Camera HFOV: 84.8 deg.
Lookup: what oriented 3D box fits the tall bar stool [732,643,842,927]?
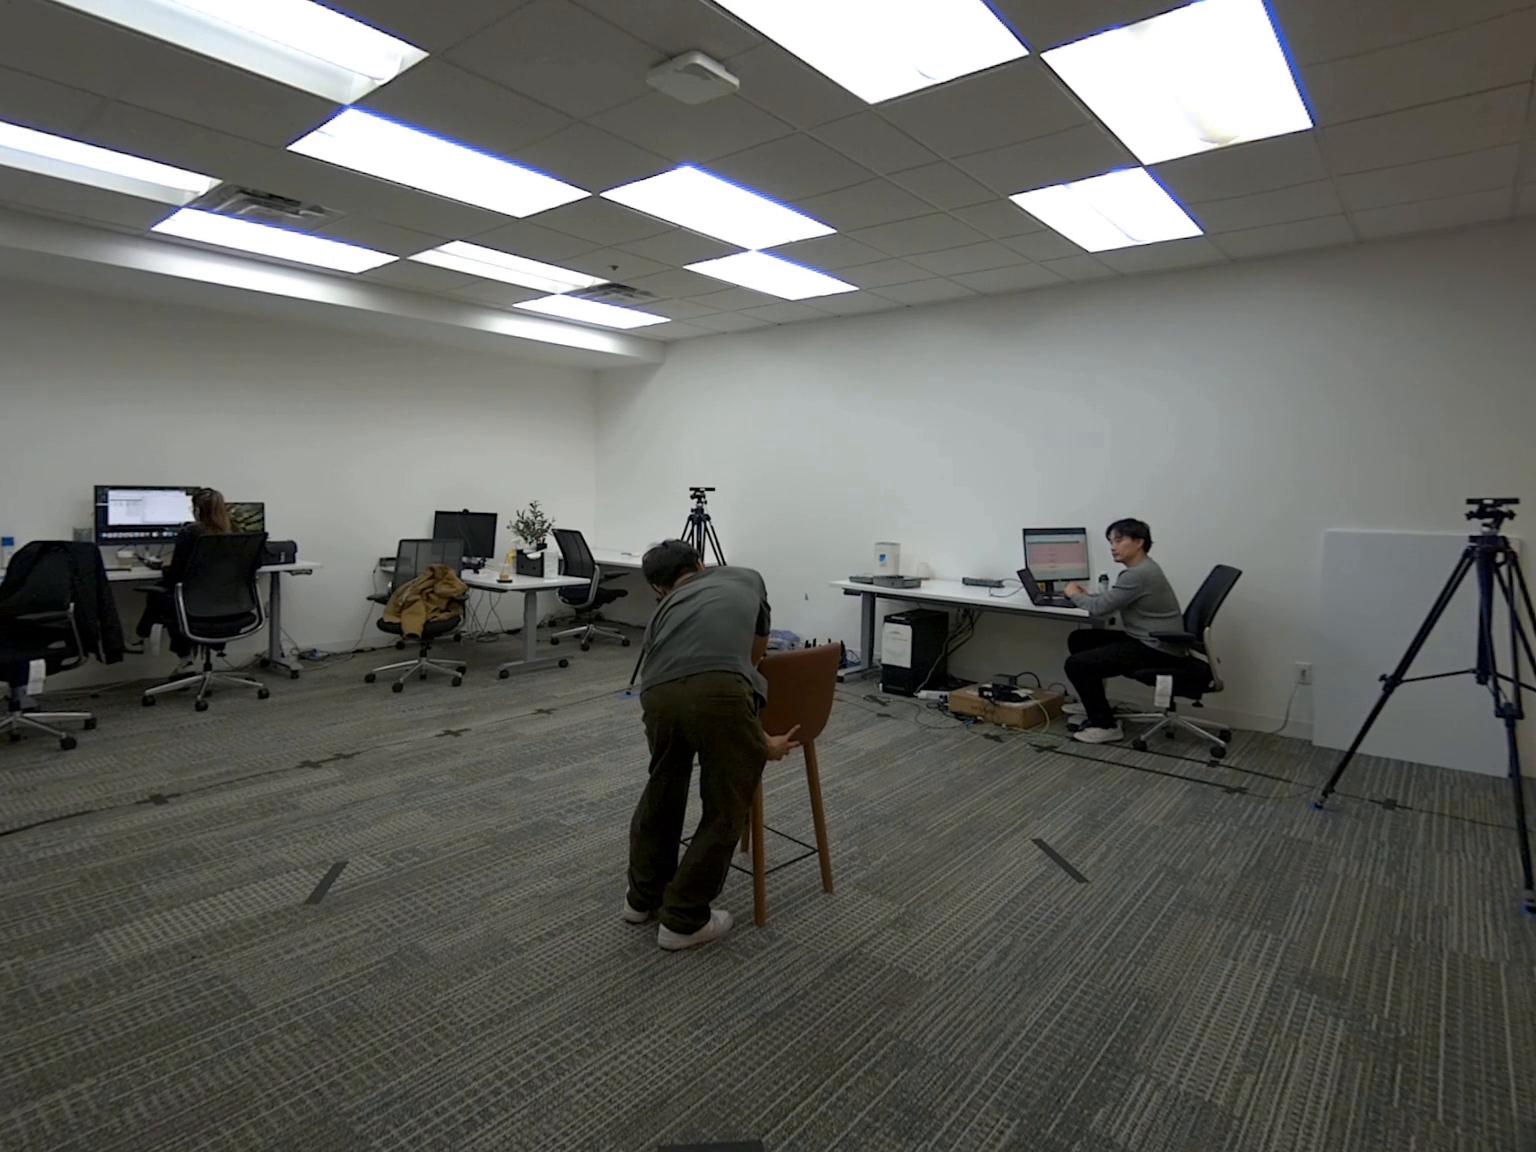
[{"bbox_3d":[-0.049,0.647,2.969,0.484,0.887,0.442,7,6,44],"label":"tall bar stool"}]
